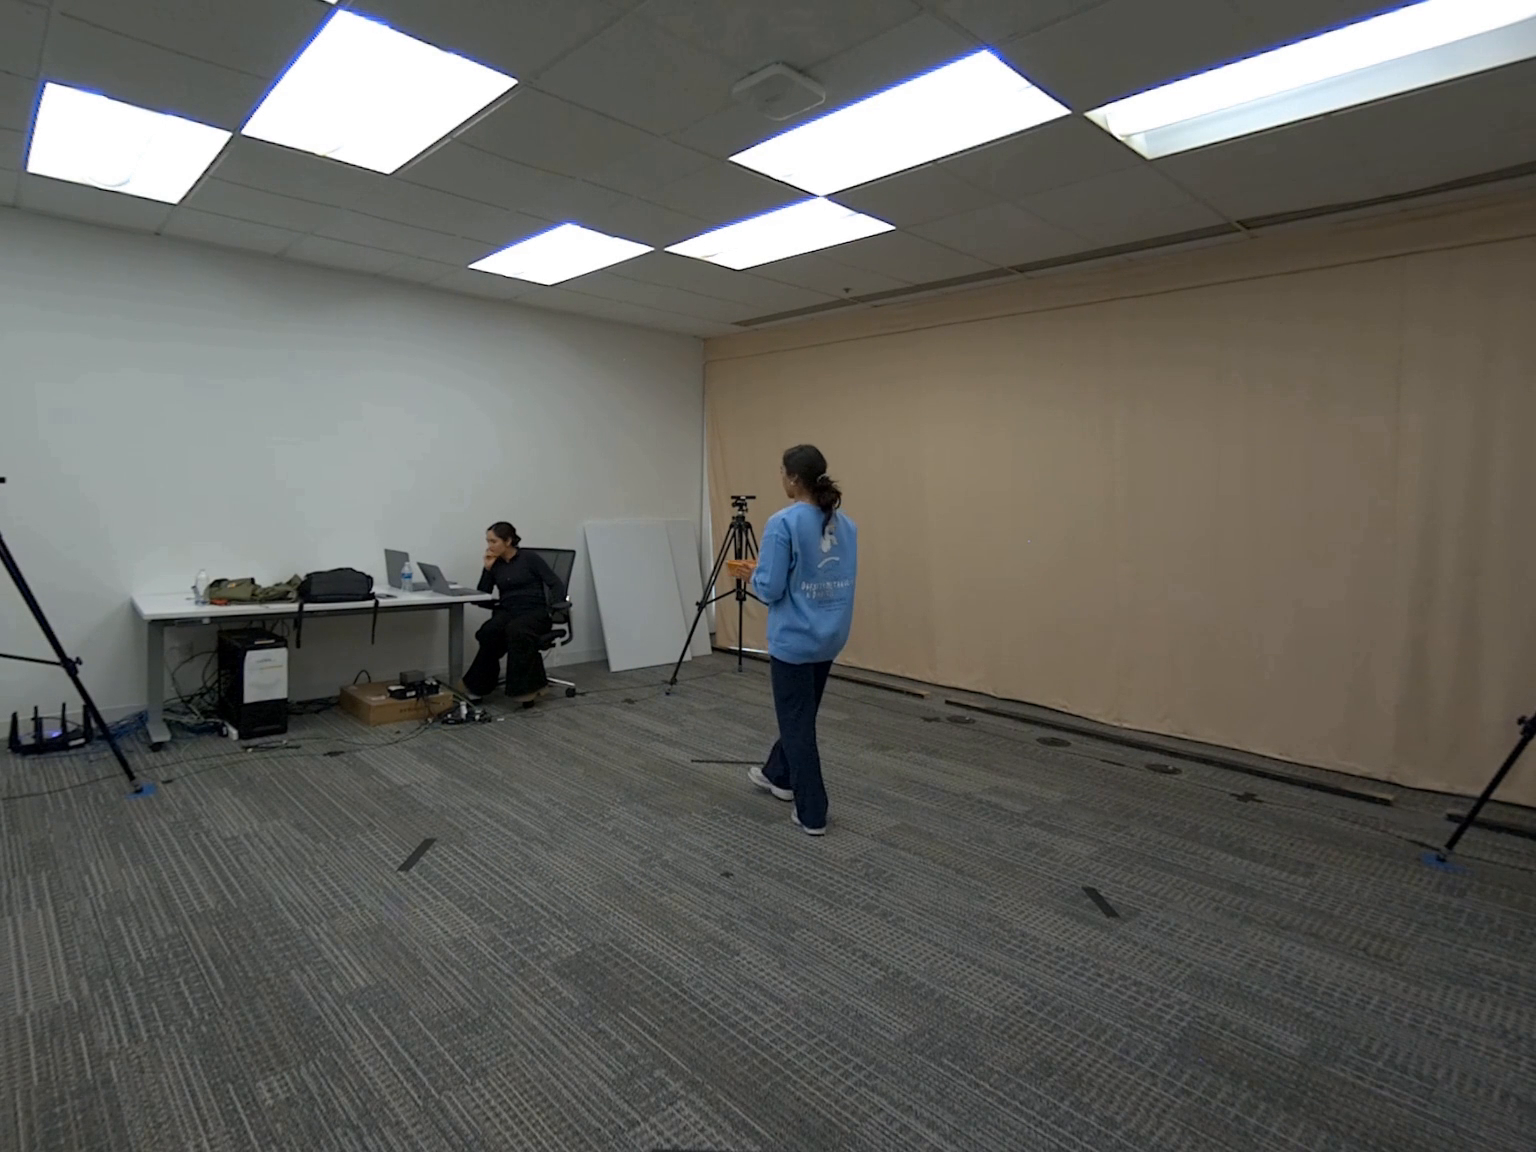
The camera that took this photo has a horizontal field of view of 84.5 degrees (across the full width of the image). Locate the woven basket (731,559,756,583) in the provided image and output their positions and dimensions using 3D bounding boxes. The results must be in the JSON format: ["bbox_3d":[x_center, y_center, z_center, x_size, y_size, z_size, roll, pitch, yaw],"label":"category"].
[{"bbox_3d":[0.003,-0.010,3.855,0.253,0.073,0.351,5,7,0],"label":"woven basket"}]
